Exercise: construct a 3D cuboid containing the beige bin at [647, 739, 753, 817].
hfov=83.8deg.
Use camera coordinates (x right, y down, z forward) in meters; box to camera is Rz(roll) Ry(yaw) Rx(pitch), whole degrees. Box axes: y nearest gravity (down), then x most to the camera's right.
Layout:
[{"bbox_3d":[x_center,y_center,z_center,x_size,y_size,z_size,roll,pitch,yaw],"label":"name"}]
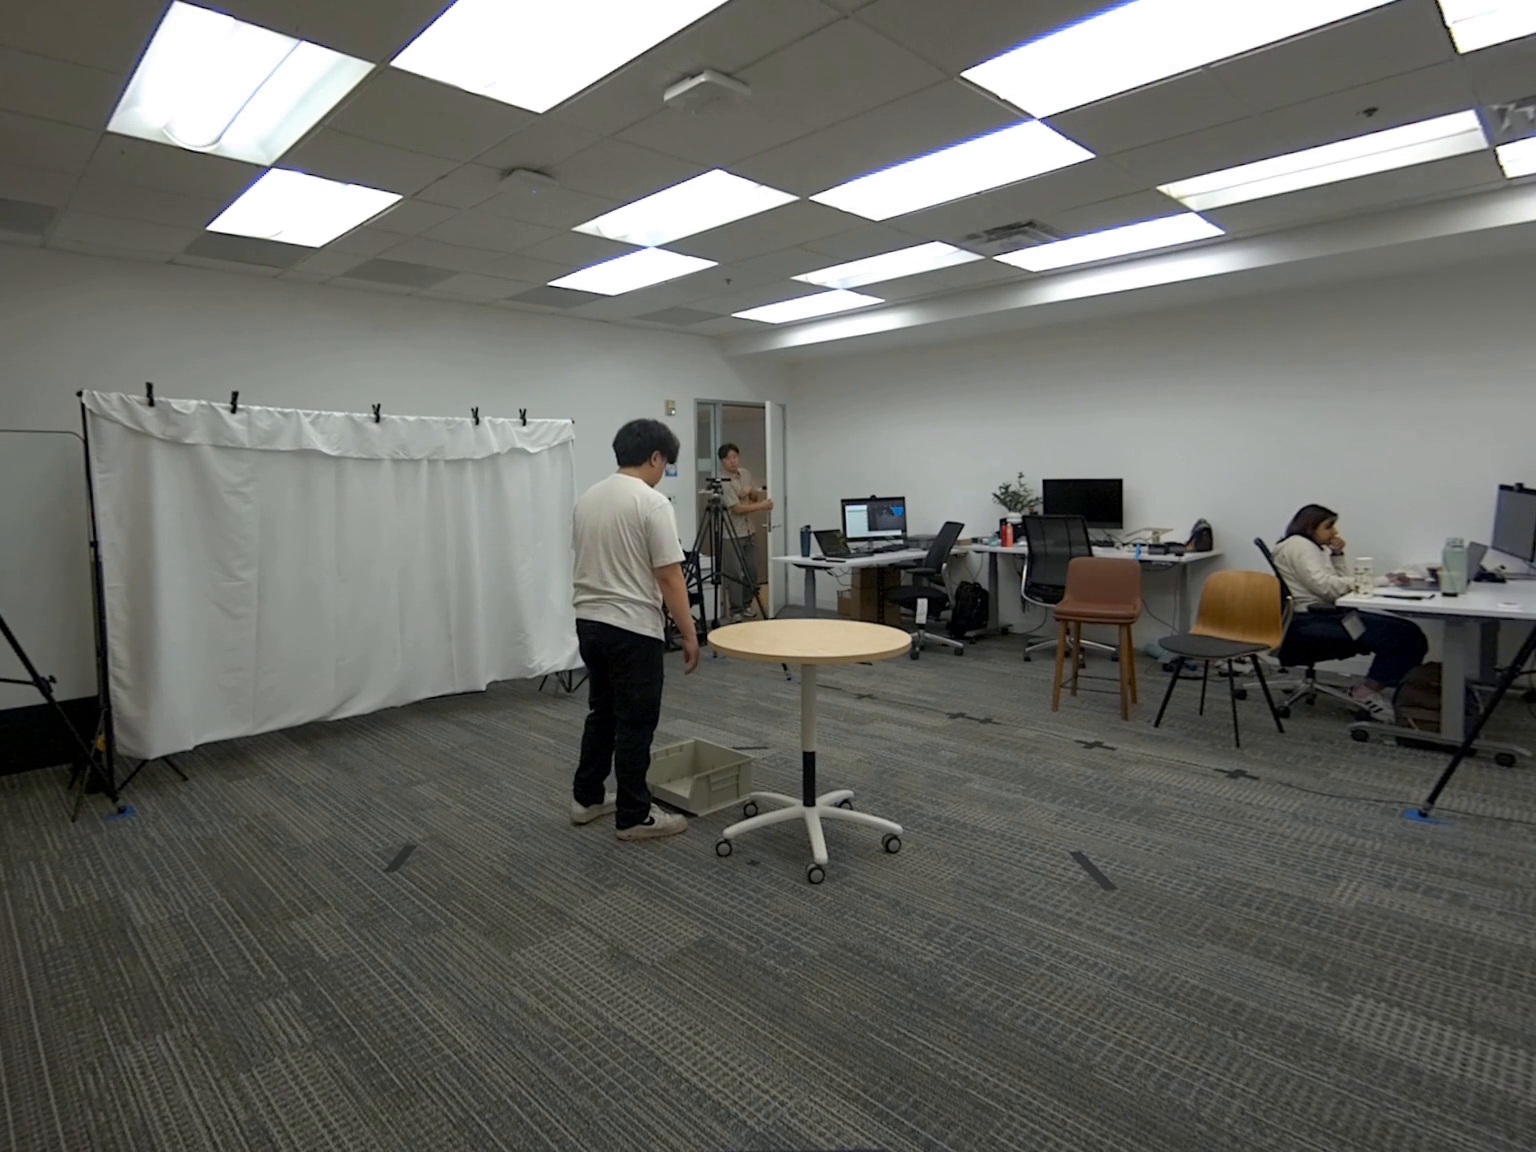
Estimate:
[{"bbox_3d":[-0.331,0.883,3.777,0.367,0.188,0.435,-5,7,-43],"label":"beige bin"}]
